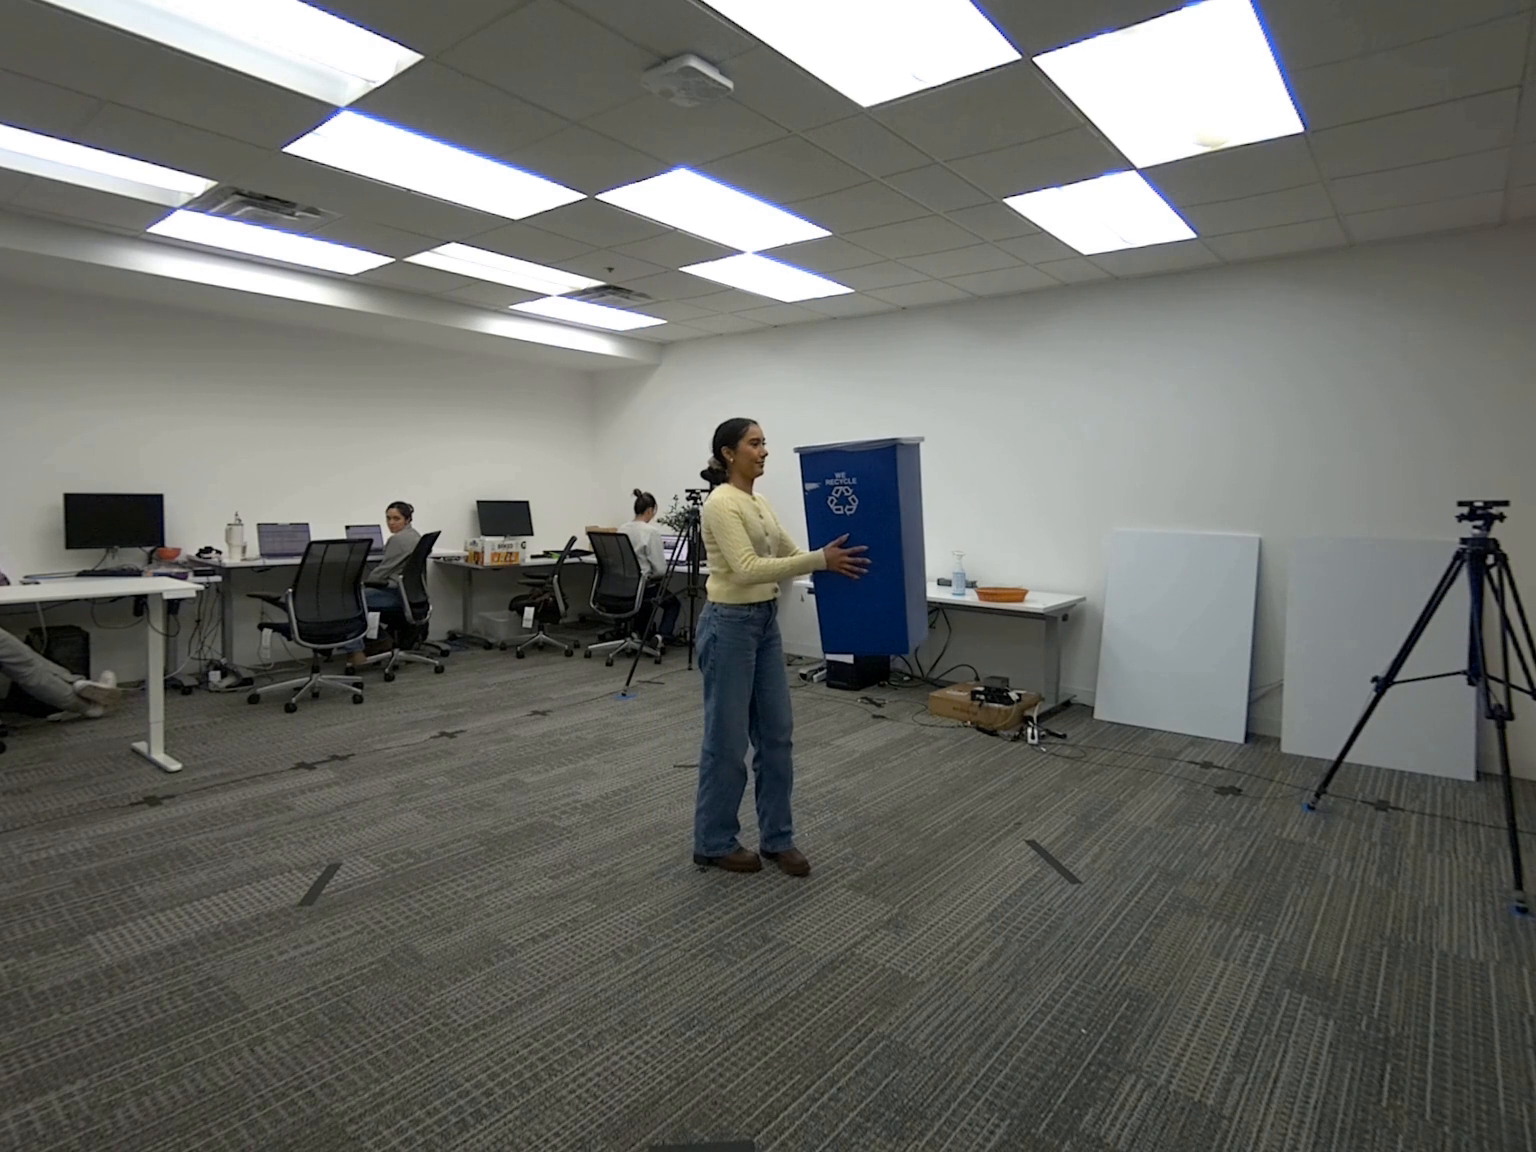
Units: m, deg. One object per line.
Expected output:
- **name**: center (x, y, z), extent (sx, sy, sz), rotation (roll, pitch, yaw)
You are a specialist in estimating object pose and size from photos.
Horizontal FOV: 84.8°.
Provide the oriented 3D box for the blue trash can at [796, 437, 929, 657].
- **blue trash can**: center (0.339, -0.116, 2.944), extent (0.383, 0.710, 0.371), rotation (-4, 5, 24)
